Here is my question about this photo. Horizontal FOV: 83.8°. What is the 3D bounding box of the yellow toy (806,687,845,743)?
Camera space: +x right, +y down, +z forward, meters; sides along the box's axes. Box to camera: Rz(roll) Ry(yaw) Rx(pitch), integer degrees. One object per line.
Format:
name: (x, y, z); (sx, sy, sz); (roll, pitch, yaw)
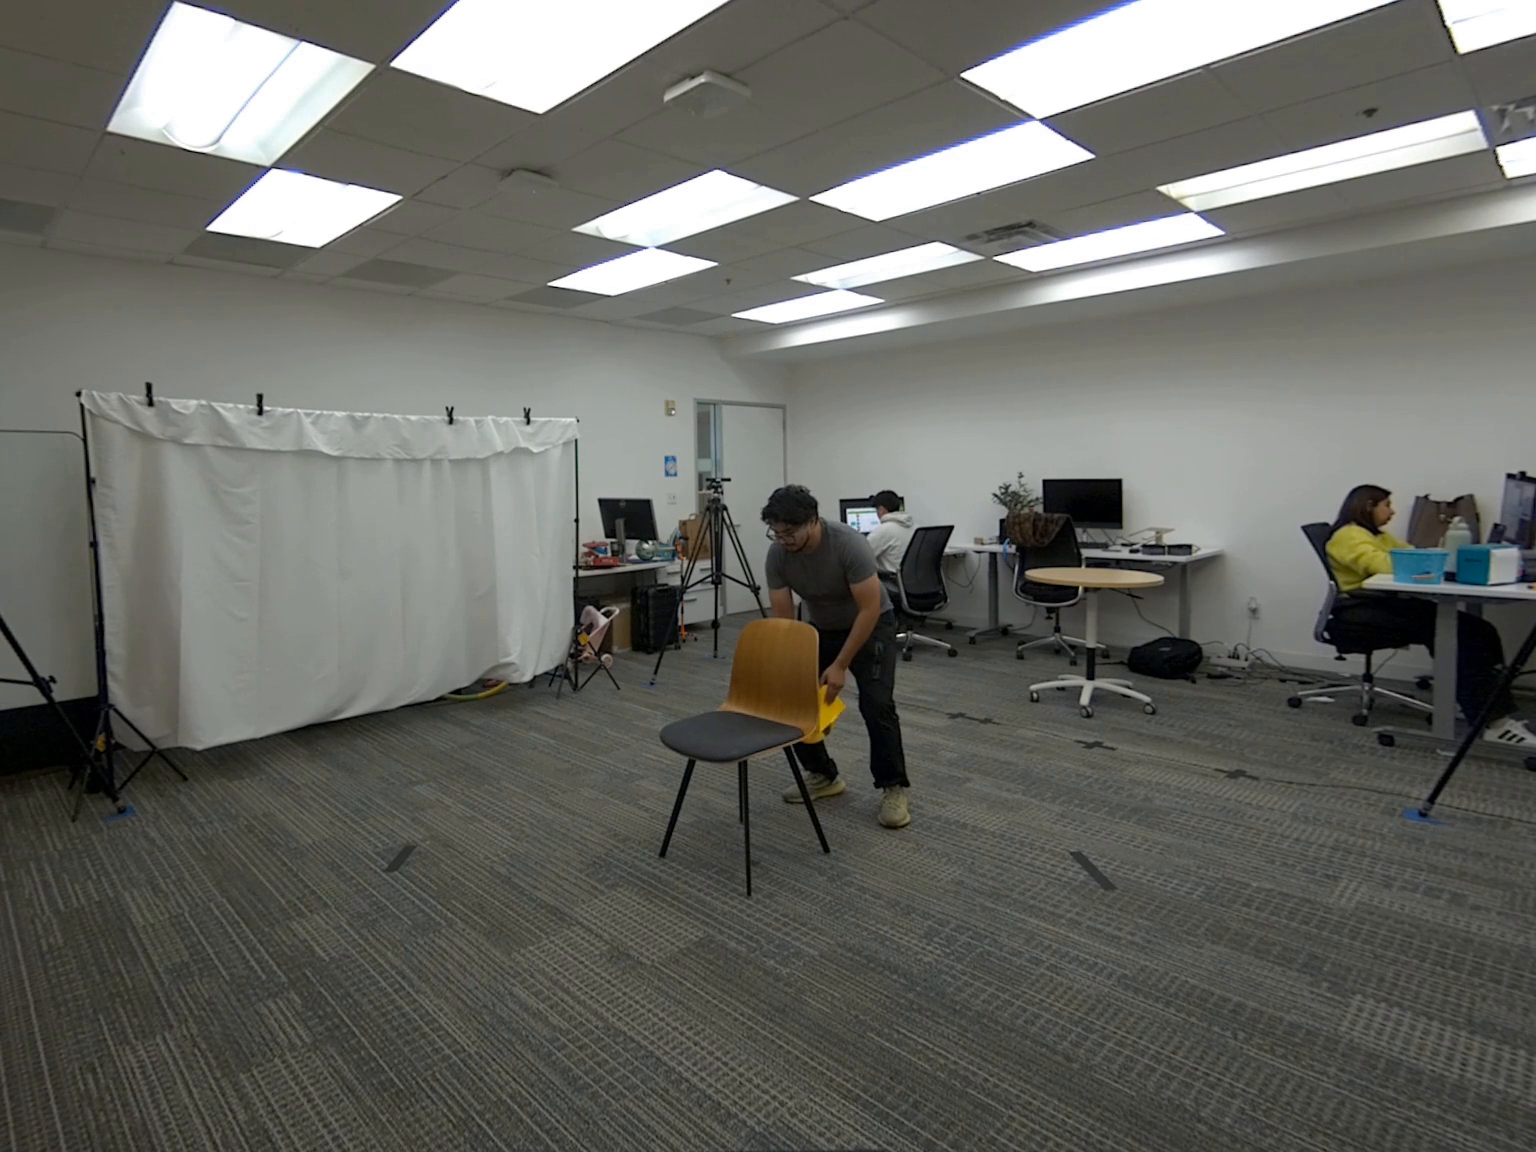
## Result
yellow toy: (0.184, 0.524, 3.442); (0.199, 0.226, 0.202); (16, 28, 30)
